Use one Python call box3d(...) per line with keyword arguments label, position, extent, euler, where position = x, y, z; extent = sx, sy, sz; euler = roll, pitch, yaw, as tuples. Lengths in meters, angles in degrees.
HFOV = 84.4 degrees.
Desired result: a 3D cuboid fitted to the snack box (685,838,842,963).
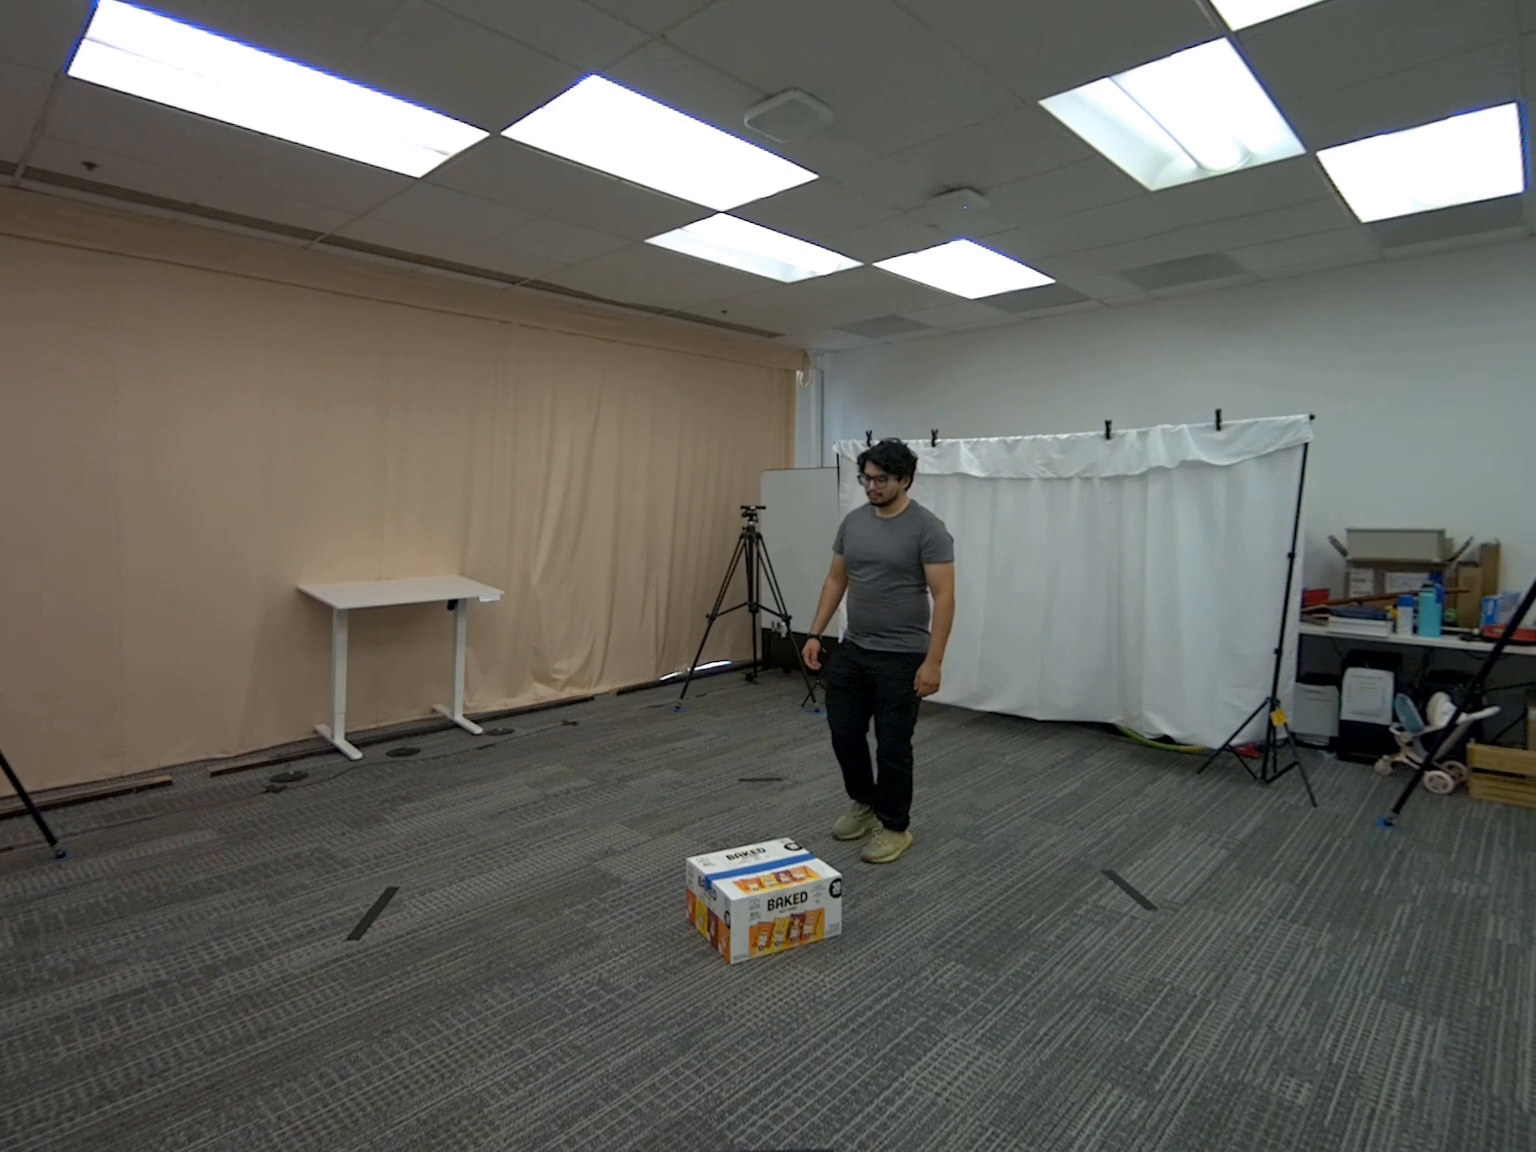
box3d(label="snack box", position=(-0.016, 1.062, 2.777), extent=(0.395, 0.205, 0.350), euler=(-3, 5, -28))
